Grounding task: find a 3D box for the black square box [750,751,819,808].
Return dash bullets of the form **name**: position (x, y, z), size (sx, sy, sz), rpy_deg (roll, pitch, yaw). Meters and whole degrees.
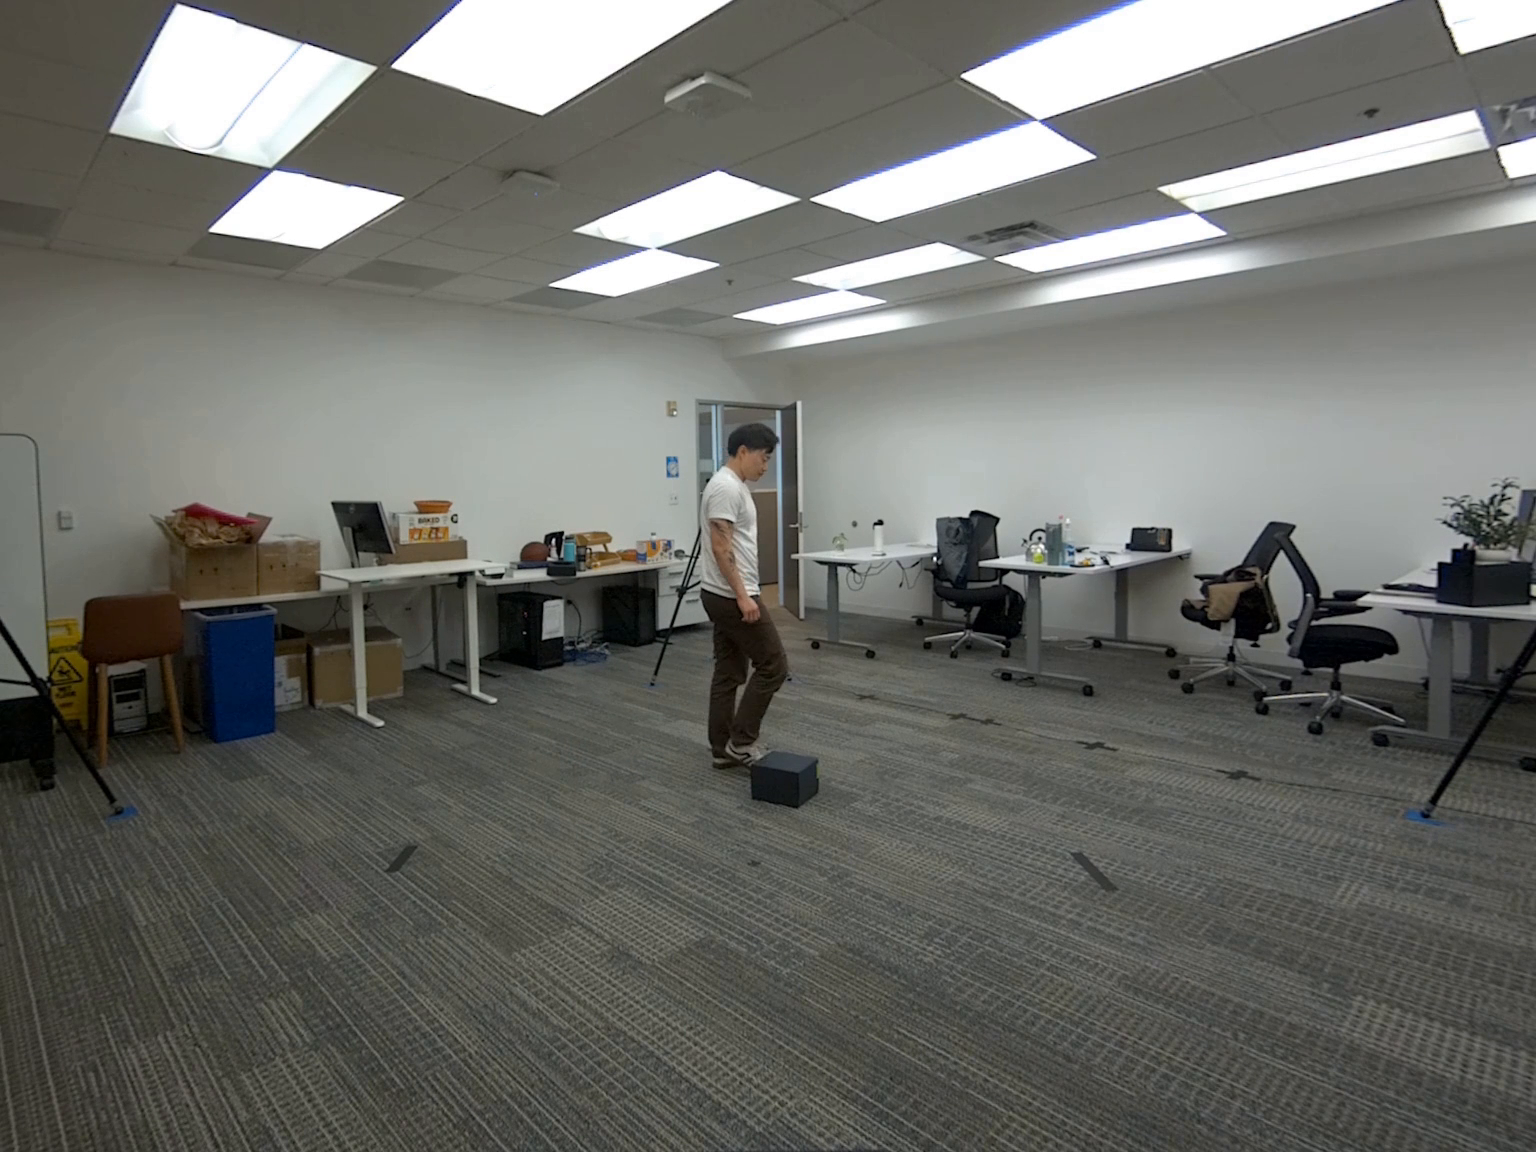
- **black square box**: position (0.077, 0.886, 3.754), size (0.234, 0.155, 0.212), rpy_deg (2, 6, 29)
